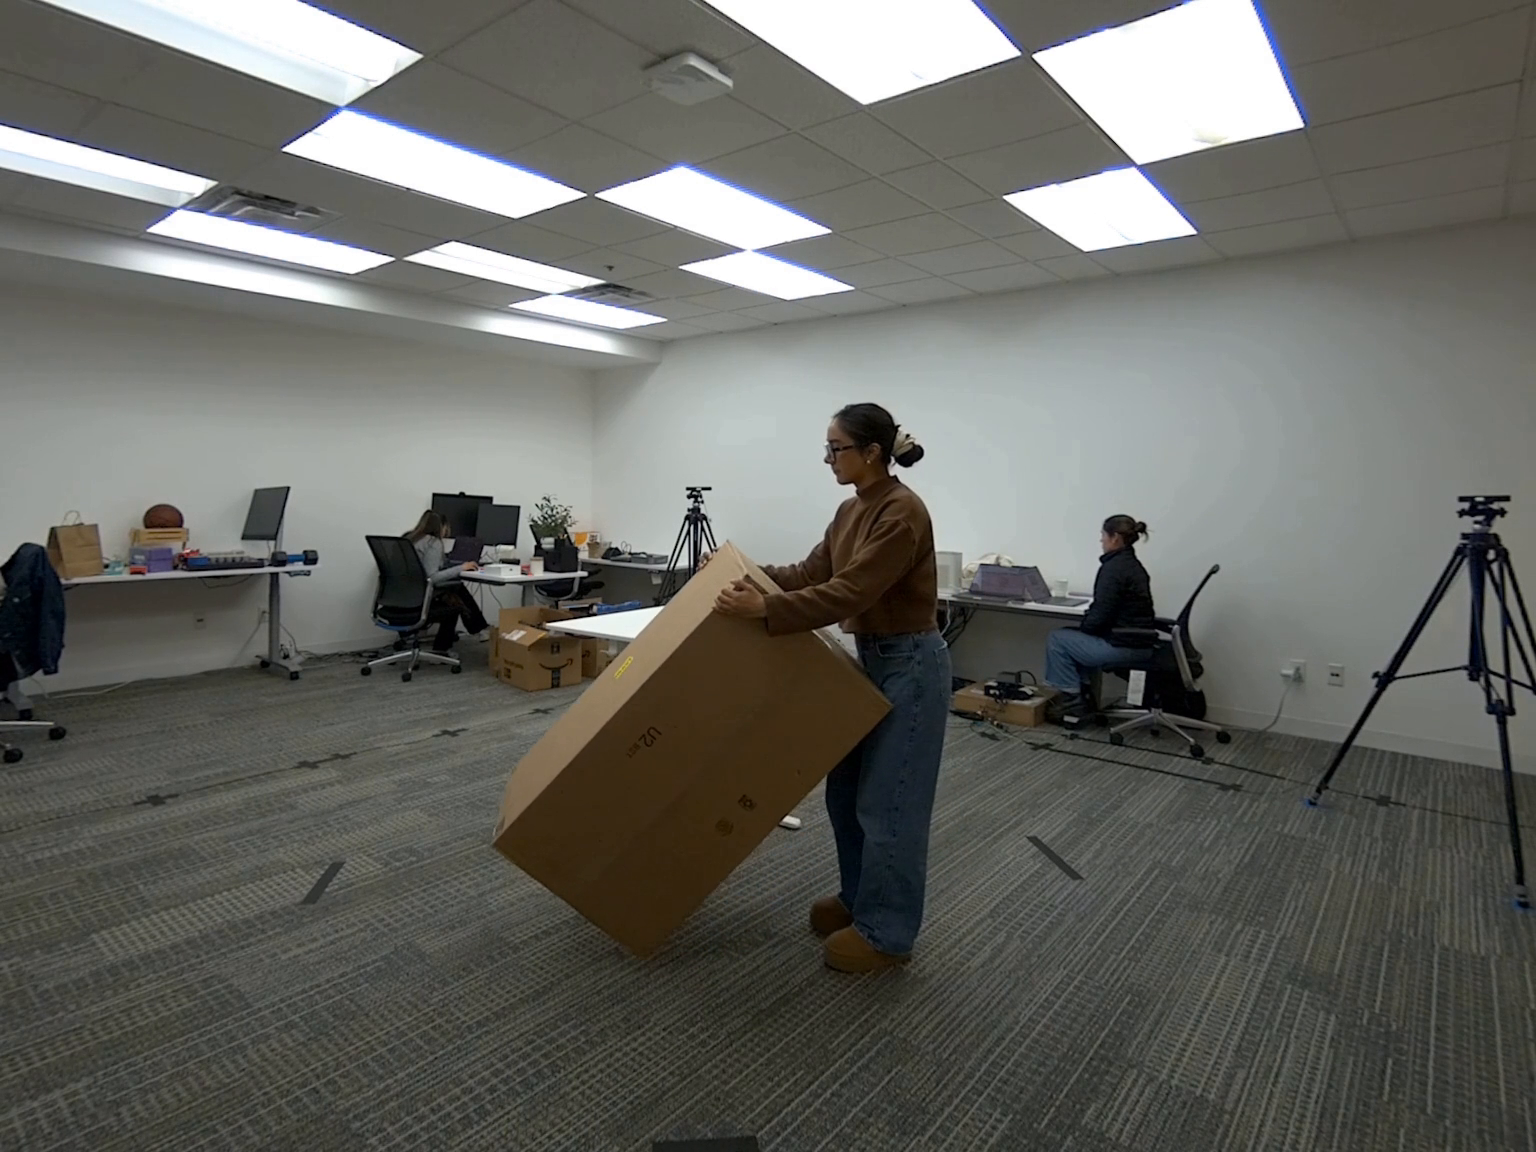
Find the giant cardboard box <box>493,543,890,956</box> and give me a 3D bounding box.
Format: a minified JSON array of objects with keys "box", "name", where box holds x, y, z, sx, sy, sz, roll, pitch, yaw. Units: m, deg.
[{"box":[-0.250,0.498,2.528,0.566,1.026,0.435,42,5,-15],"name":"giant cardboard box"}]
